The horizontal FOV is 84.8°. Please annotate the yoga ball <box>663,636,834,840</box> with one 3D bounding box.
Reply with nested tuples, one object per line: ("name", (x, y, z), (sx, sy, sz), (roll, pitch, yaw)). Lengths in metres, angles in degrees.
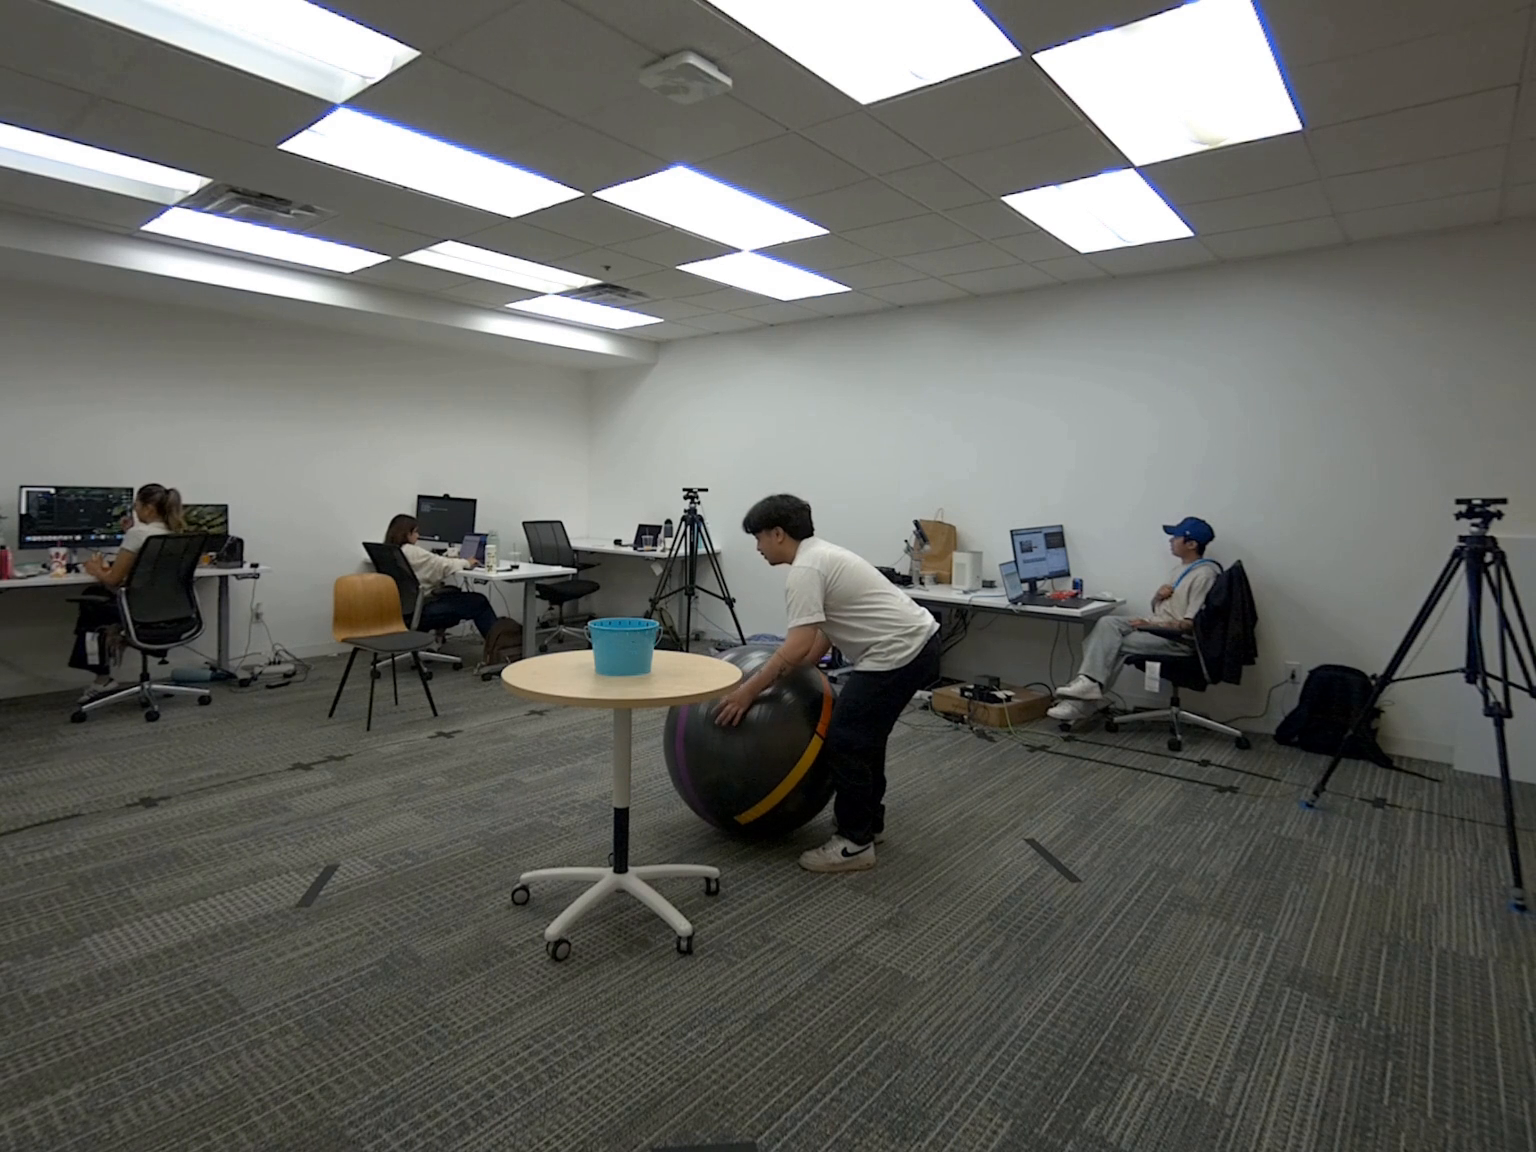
("yoga ball", (-0.059, 0.671, 3.483), (0.757, 0.756, 0.761), (1, 4, -2))
